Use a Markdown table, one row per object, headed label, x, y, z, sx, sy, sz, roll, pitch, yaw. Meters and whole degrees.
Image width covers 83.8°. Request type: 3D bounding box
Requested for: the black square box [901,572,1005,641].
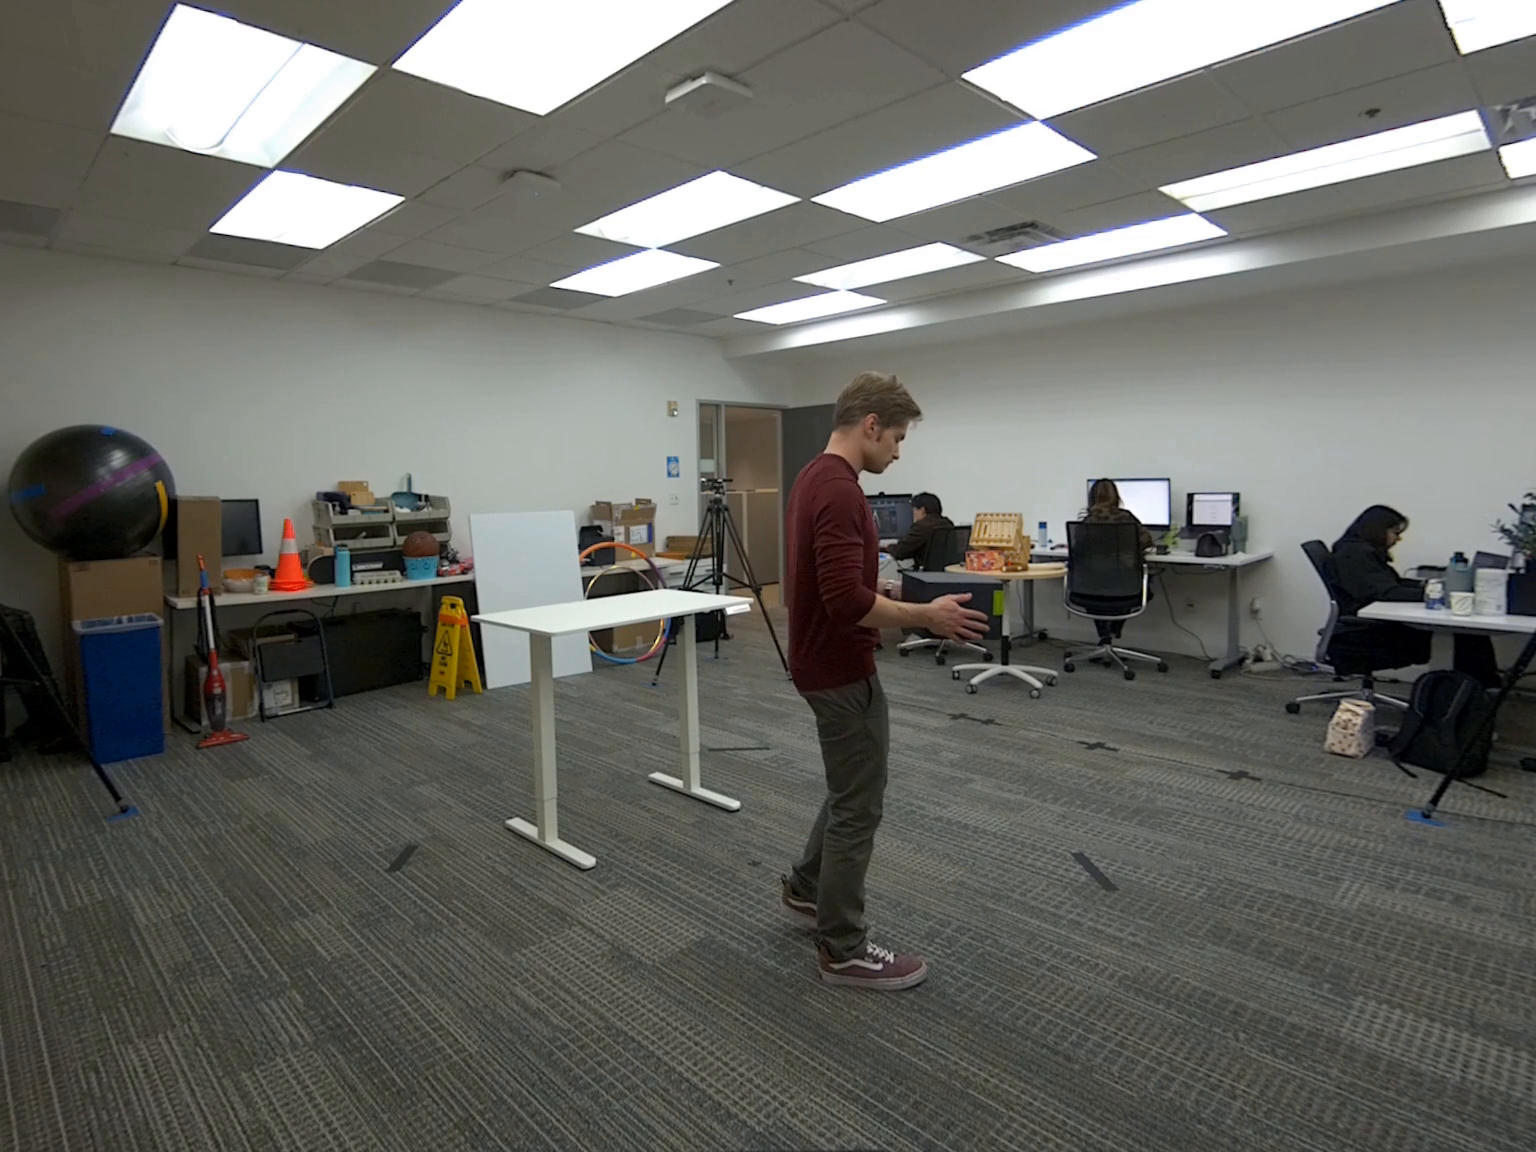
| label | x | y | z | sx | sy | sz | roll | pitch | yaw |
| --- | --- | --- | --- | --- | --- | --- | --- | --- | --- |
| black square box | 0.507 | 0.078 | 2.370 | 0.216 | 0.155 | 0.230 | 0 | 7 | -6 |
